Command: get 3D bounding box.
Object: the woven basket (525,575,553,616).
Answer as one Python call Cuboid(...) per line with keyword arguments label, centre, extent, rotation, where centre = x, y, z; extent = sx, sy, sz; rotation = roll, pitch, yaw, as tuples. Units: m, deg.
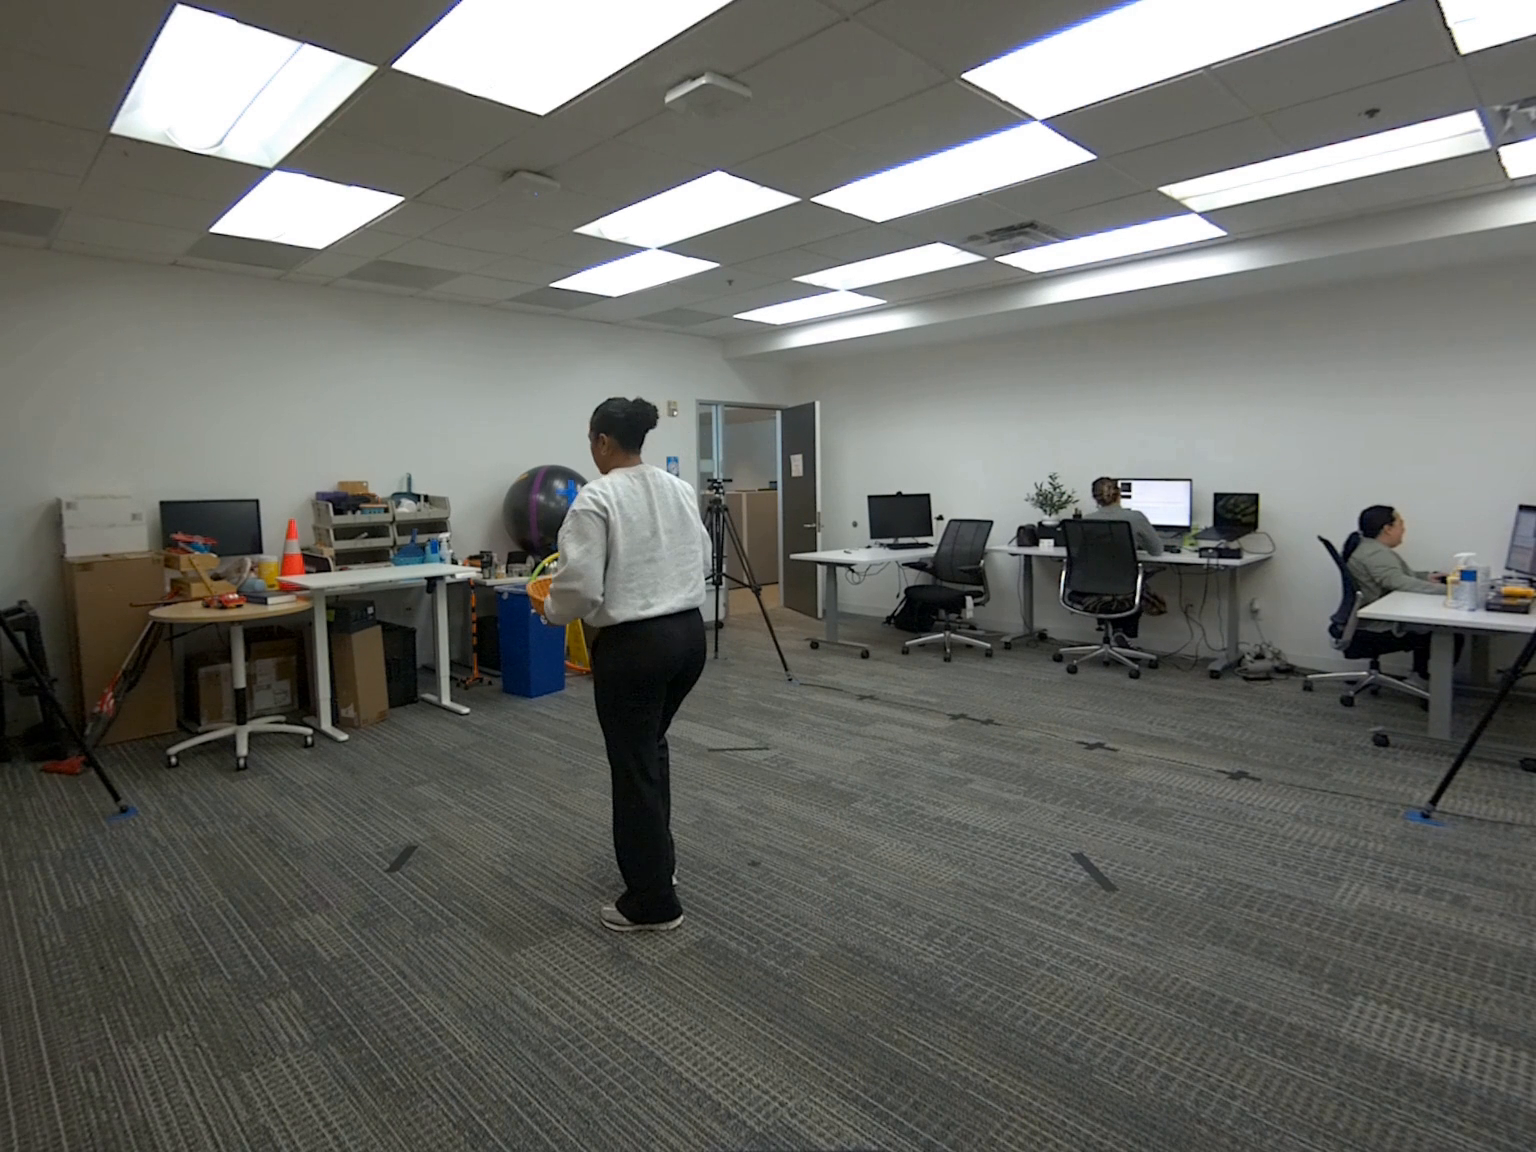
Cuboid(label="woven basket", centre=(-0.640, 0.086, 2.911), extent=(0.262, 0.072, 0.342), rotation=(26, 24, 39))
